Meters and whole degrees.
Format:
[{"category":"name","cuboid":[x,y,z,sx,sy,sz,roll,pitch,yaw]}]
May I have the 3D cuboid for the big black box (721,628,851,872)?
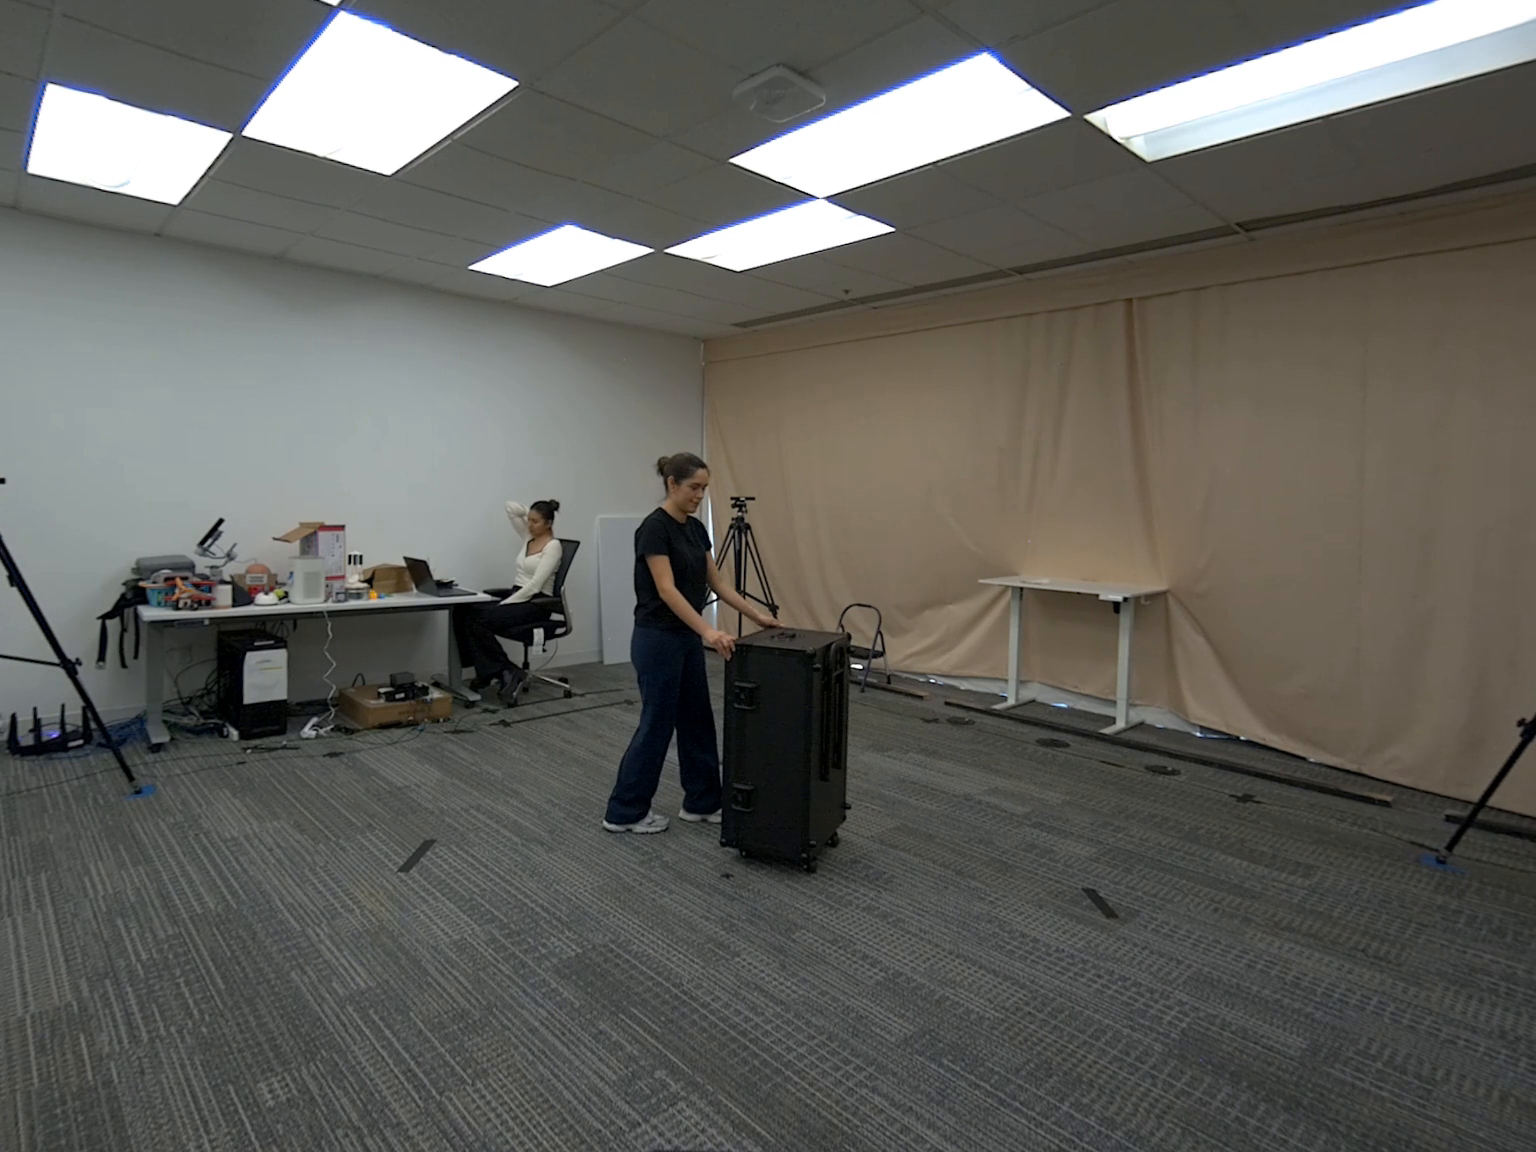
[{"category":"big black box","cuboid":[0.082,0.662,3.319,0.403,0.860,0.513,3,3,23]}]
